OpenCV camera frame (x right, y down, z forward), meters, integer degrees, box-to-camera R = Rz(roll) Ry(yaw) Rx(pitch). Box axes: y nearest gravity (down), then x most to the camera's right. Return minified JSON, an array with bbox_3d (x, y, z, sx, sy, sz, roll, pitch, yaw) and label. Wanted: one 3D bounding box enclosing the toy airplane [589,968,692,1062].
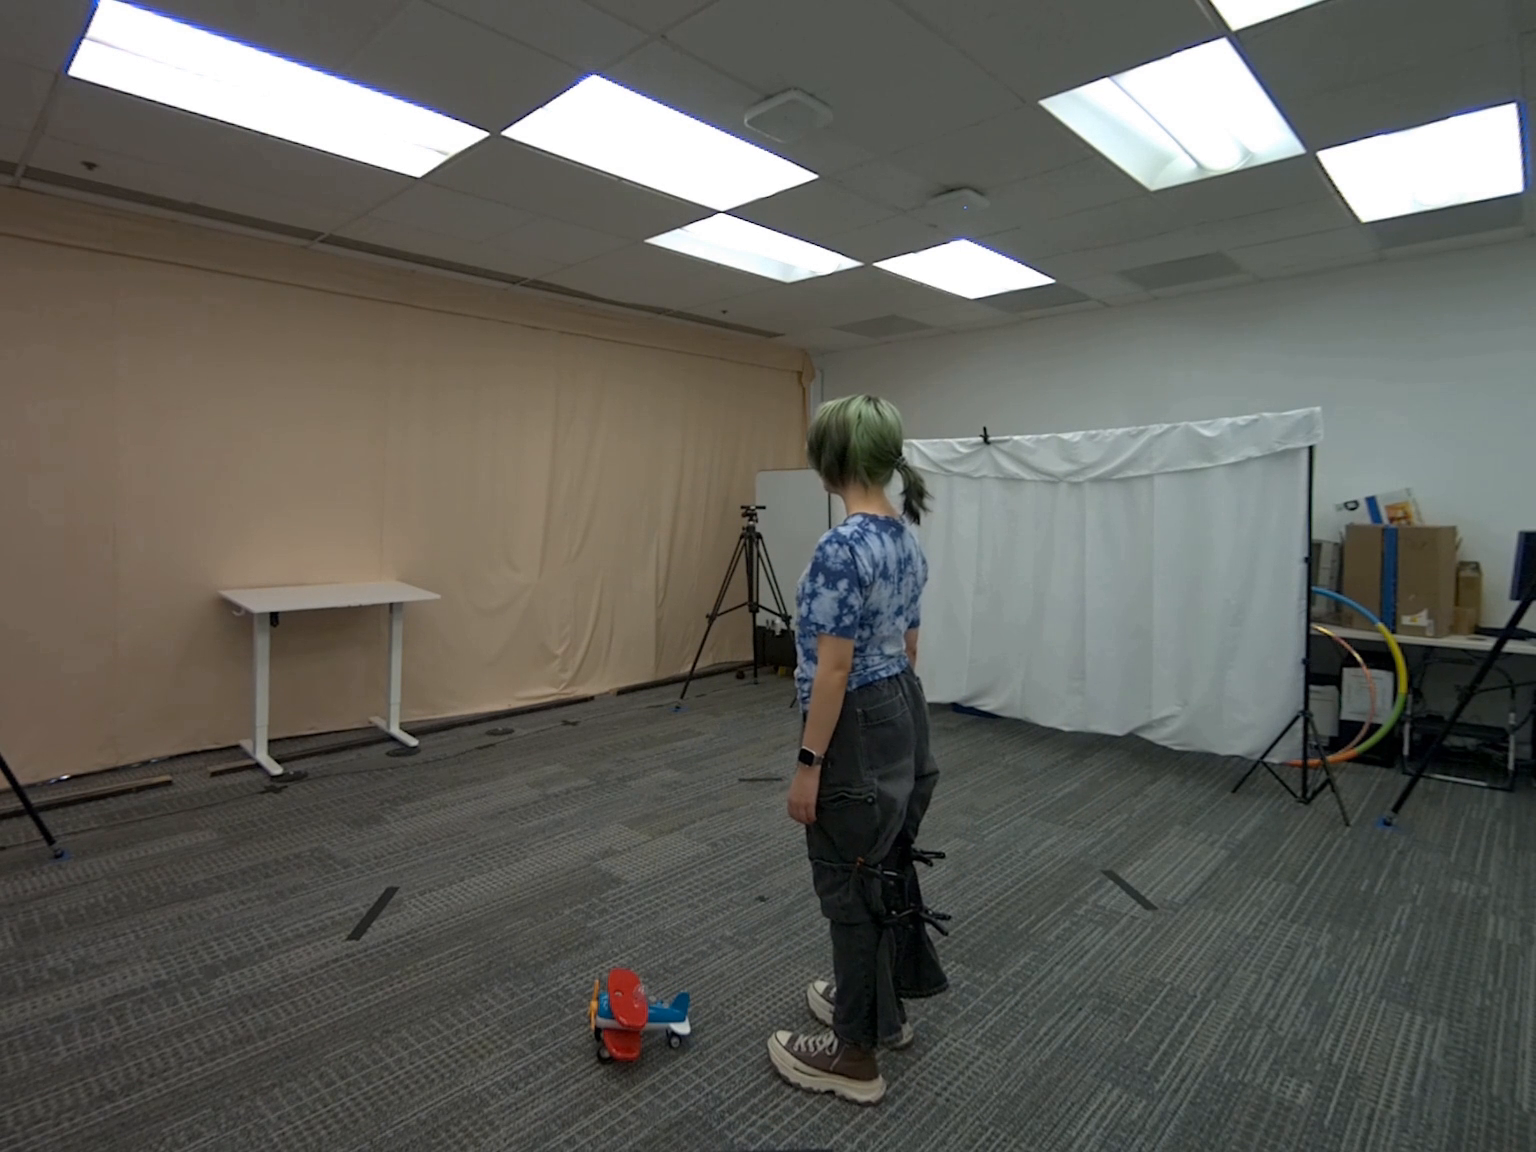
[{"bbox_3d":[-0.334,1.145,2.181,0.251,0.156,0.259,-6,7,-41],"label":"toy airplane"}]
